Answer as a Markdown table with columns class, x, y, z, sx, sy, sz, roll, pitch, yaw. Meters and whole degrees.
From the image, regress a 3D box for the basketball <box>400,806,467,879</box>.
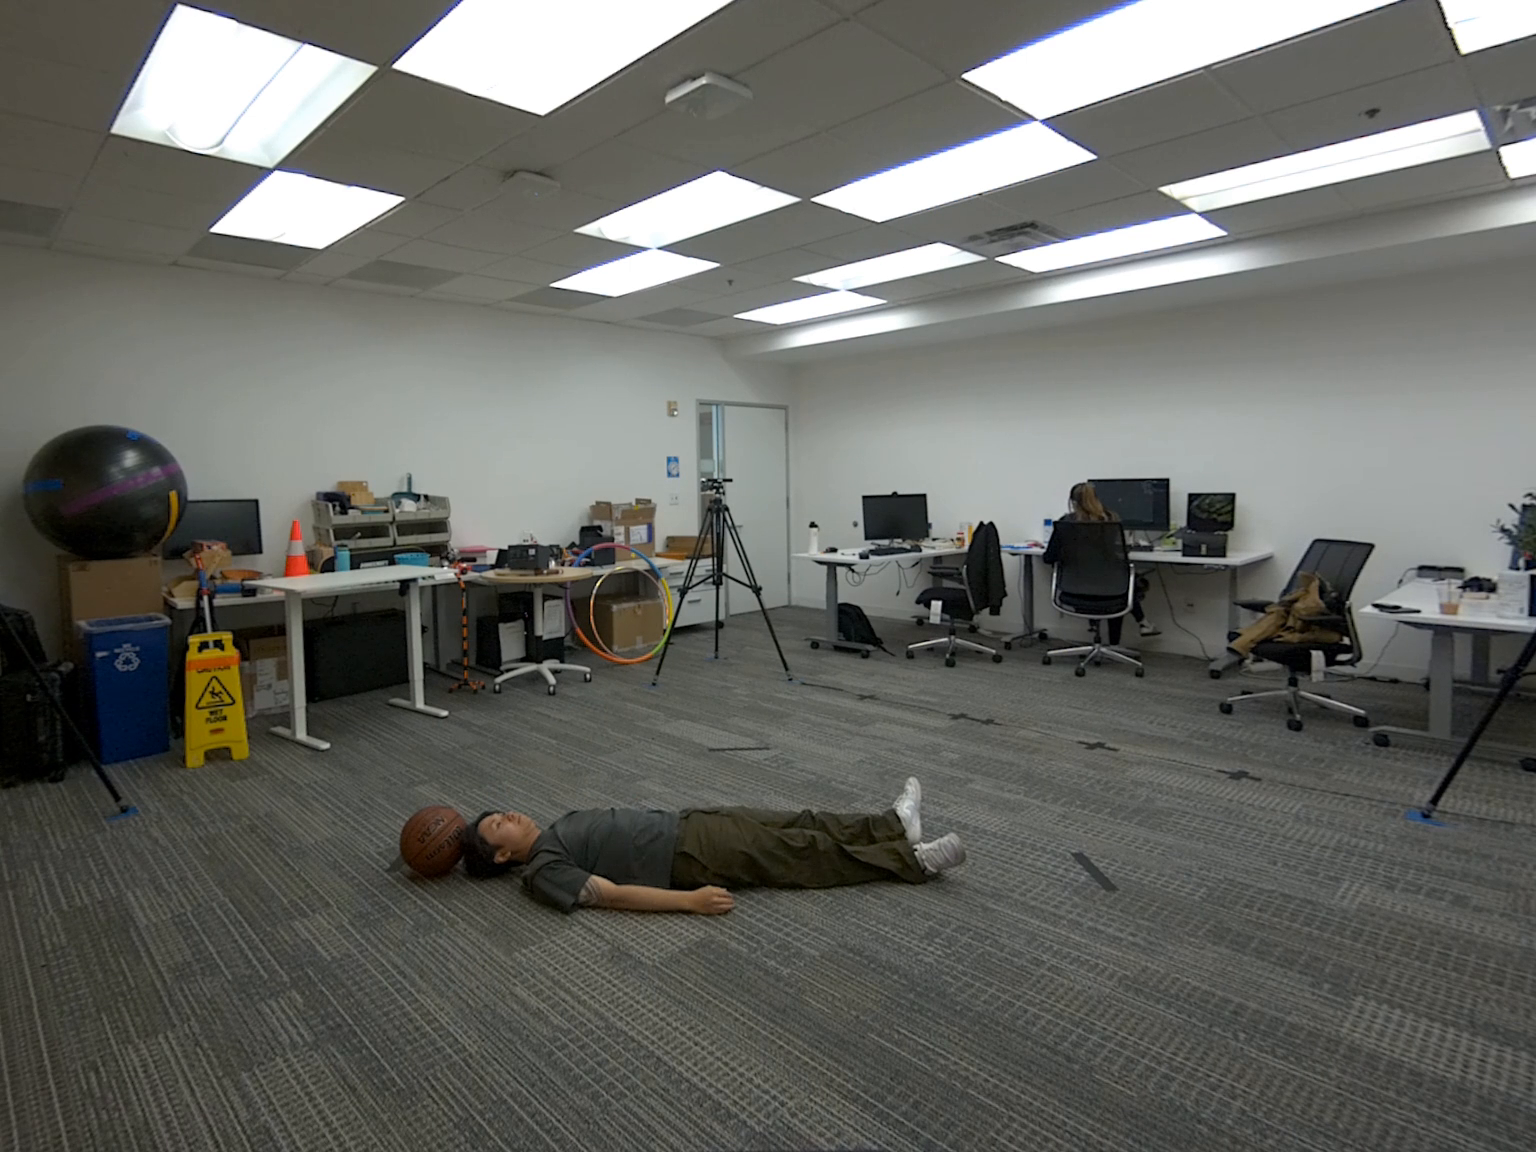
| class | x | y | z | sx | sy | sz | roll | pitch | yaw |
| --- | --- | --- | --- | --- | --- | --- | --- | --- | --- |
| basketball | -1.198 | 0.950 | 3.083 | 0.236 | 0.235 | 0.237 | -1 | 5 | -2 |
